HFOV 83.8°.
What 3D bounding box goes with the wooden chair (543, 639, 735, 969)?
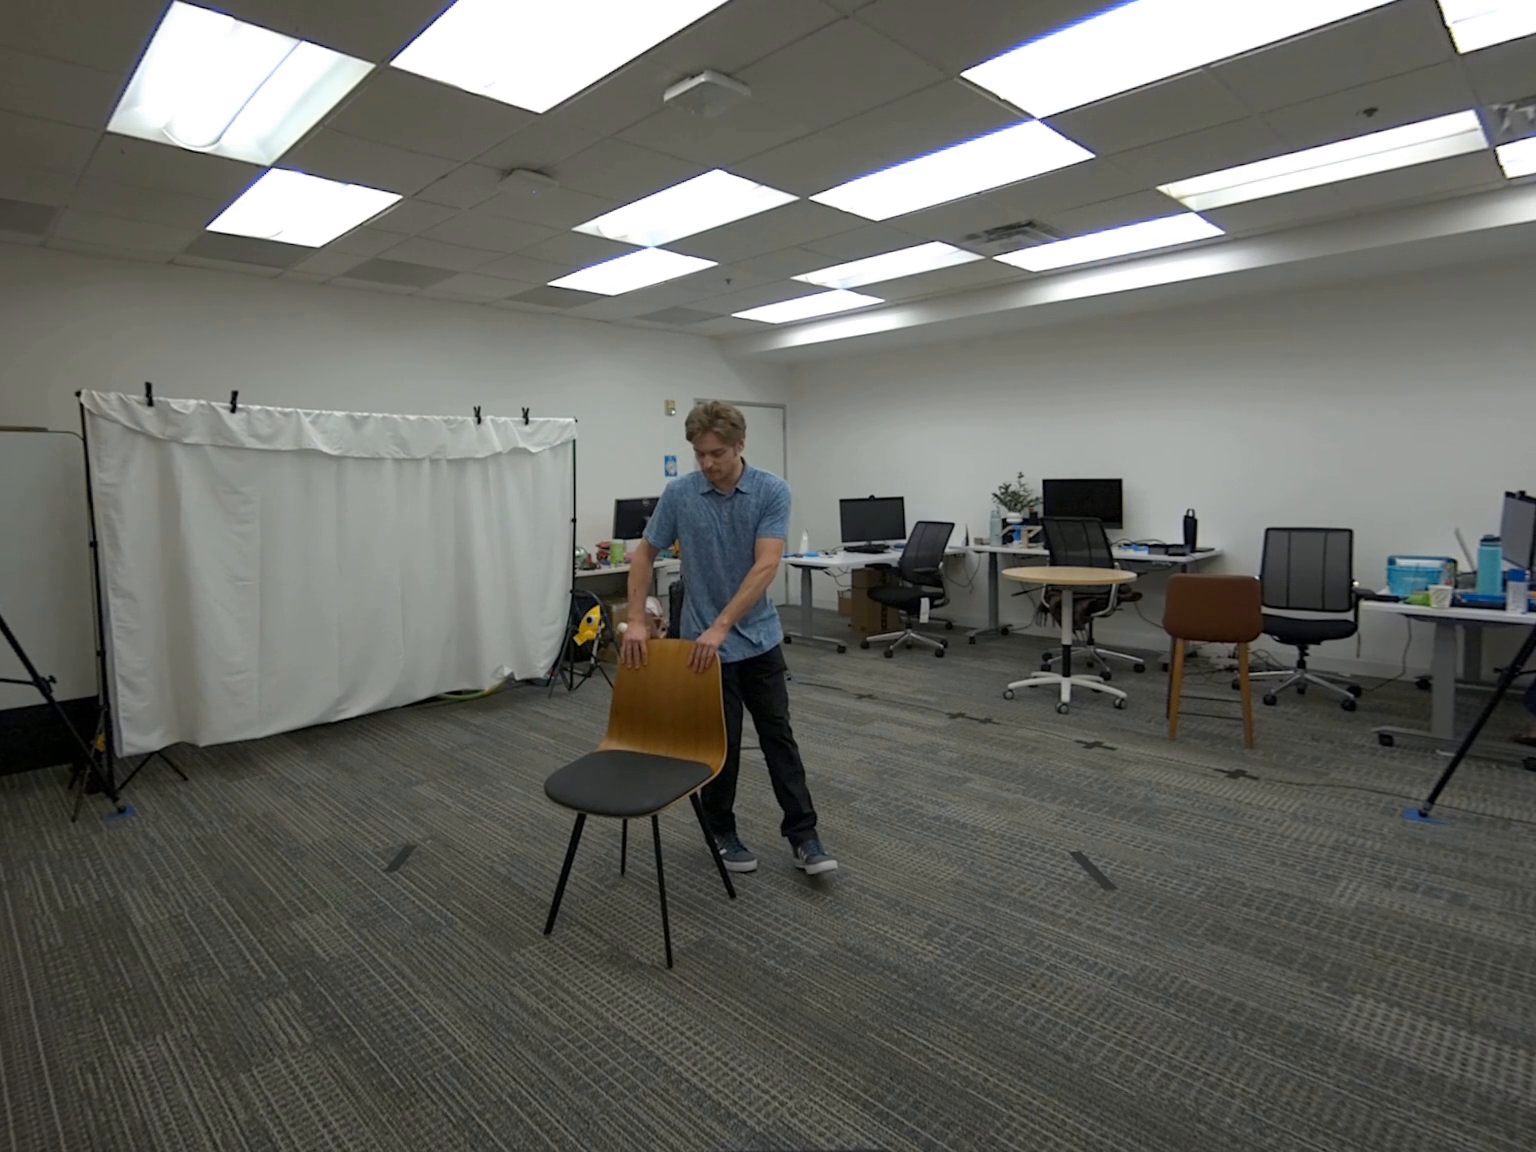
[{"bbox_3d":[-0.403,0.667,2.699,0.489,0.877,0.511,2,1,25],"label":"wooden chair"}]
